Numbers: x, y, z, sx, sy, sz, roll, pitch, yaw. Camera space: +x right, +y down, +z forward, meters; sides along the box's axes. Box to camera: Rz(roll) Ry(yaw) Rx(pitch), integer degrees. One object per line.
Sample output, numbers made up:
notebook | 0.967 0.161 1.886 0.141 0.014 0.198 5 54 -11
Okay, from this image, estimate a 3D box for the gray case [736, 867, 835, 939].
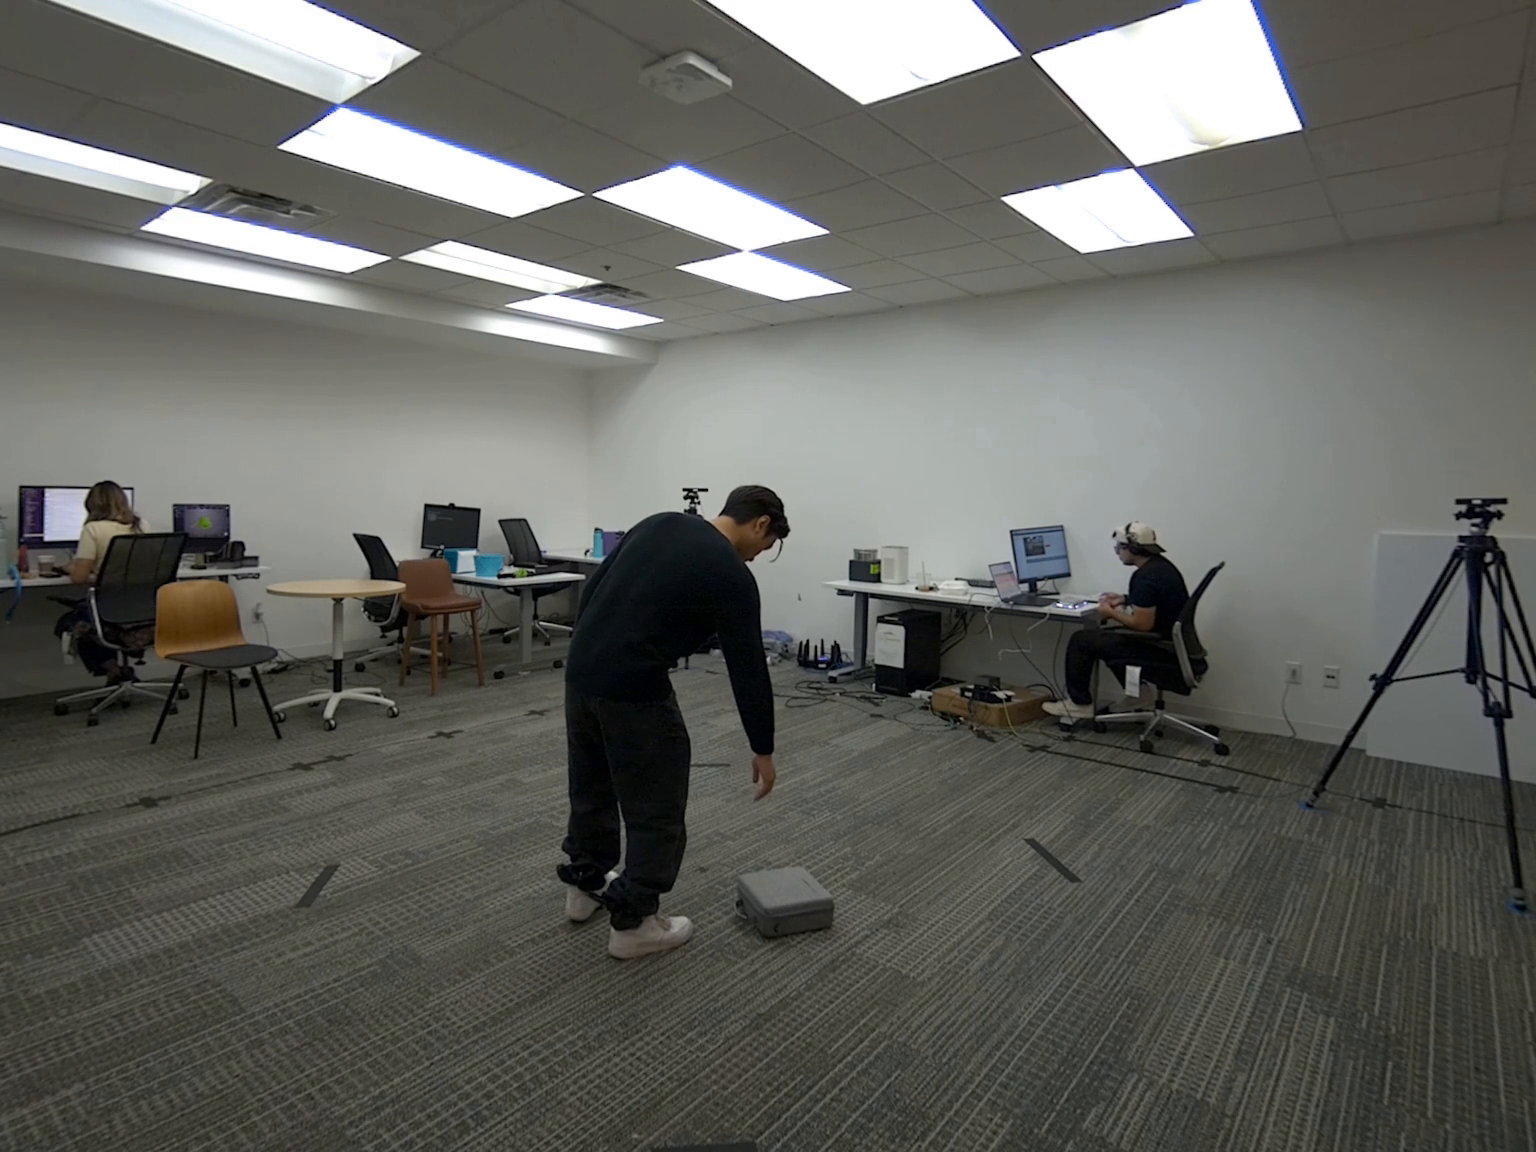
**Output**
gray case | 0.046 1.052 2.770 0.255 0.104 0.263 -2 6 -21
